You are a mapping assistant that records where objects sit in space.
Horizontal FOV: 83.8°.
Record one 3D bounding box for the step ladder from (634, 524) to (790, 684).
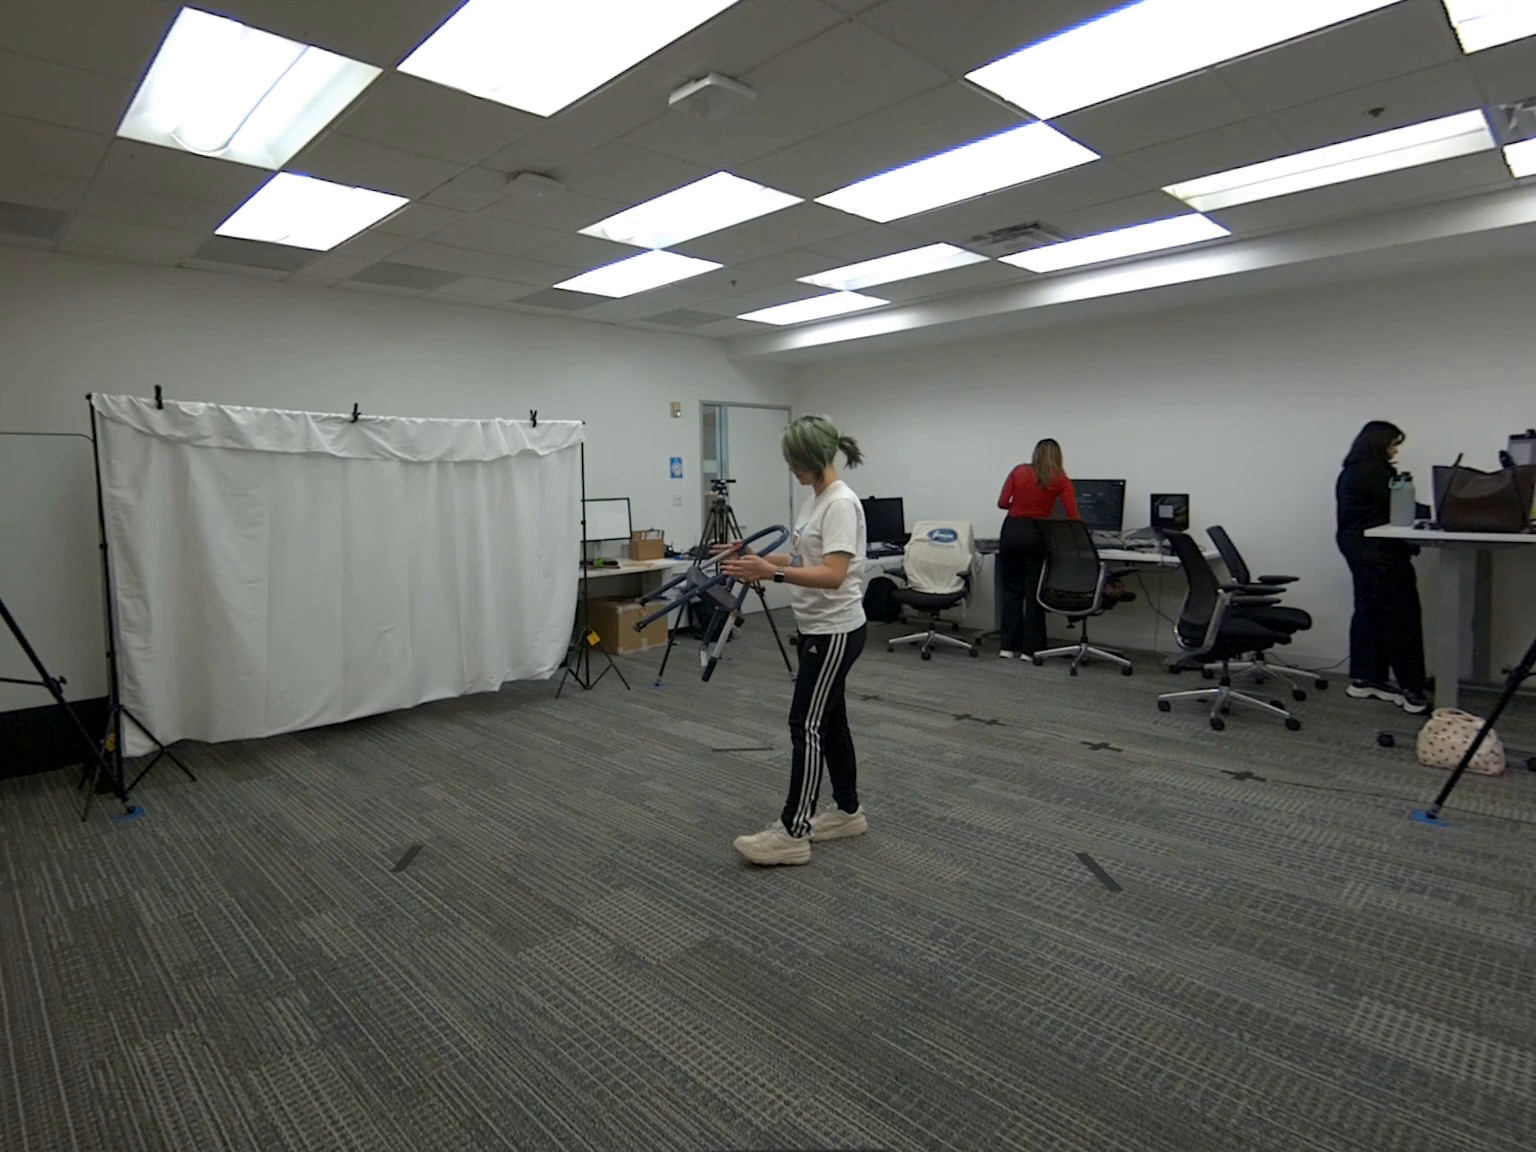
[{"bbox_3d":[-0.186,0.015,3.198,0.345,0.605,0.436,39,6,-11],"label":"step ladder"}]
